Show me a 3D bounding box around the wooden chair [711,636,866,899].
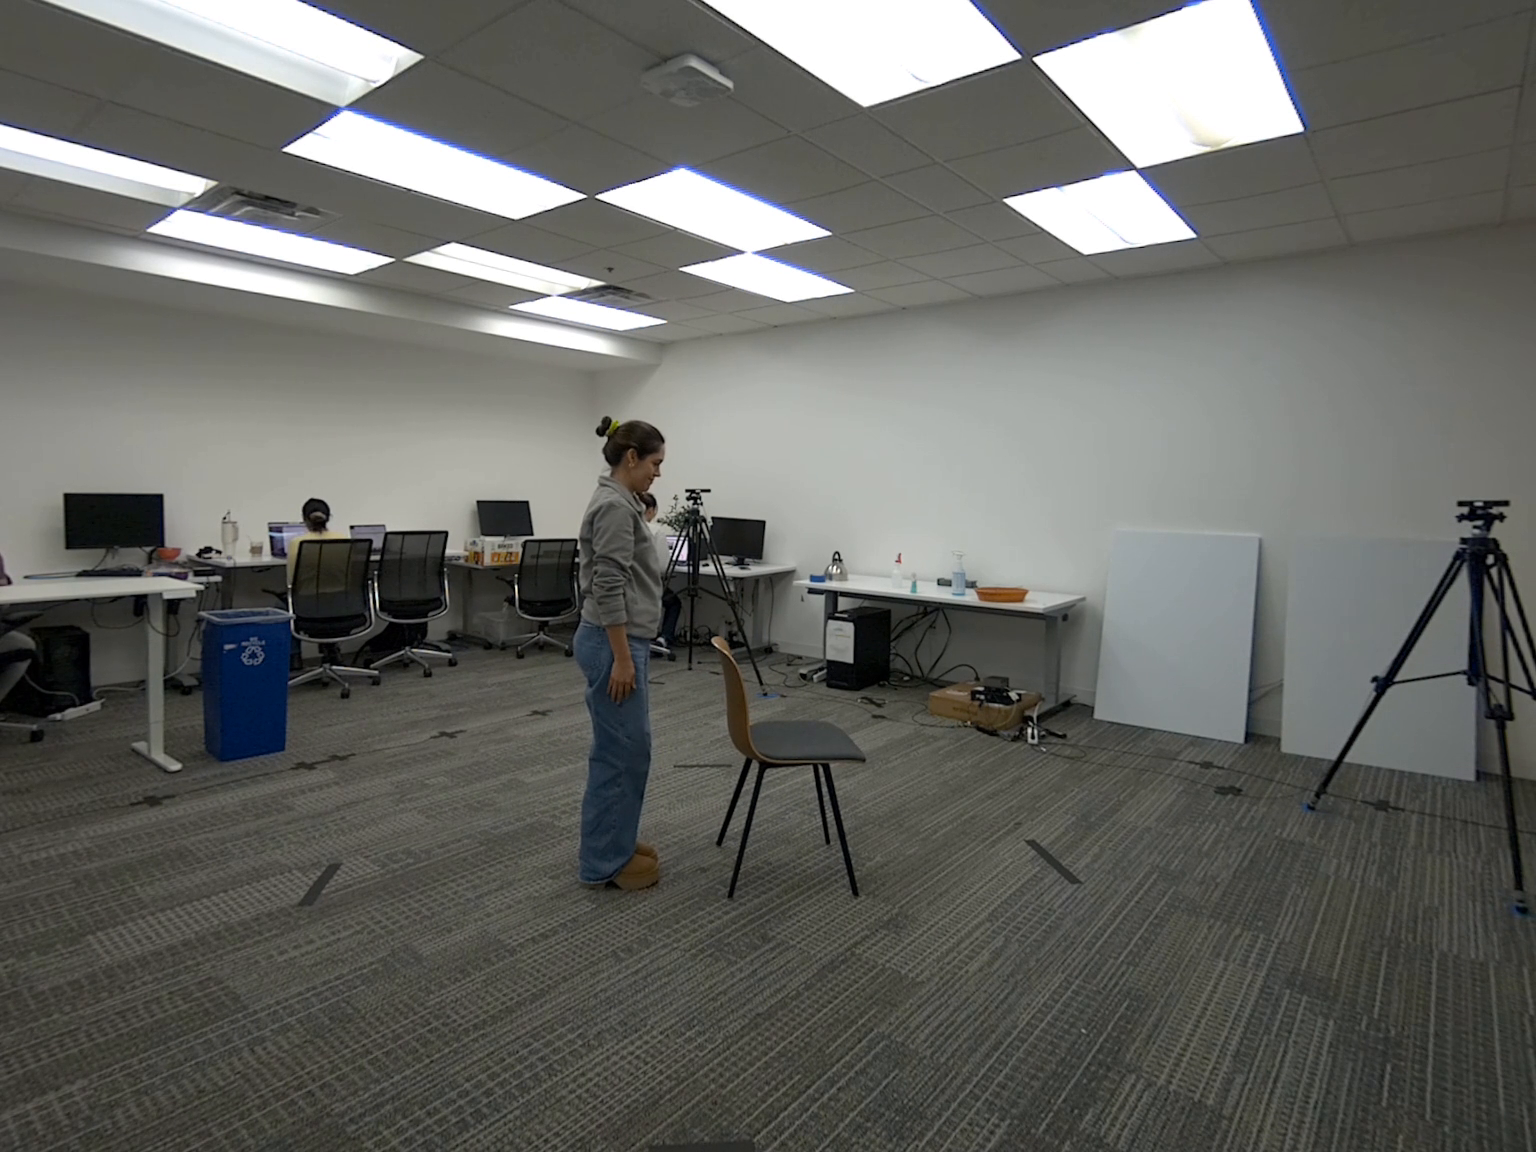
[{"bbox_3d":[0.068,0.656,3.103,0.520,0.875,0.482,-3,3,-7],"label":"wooden chair"}]
